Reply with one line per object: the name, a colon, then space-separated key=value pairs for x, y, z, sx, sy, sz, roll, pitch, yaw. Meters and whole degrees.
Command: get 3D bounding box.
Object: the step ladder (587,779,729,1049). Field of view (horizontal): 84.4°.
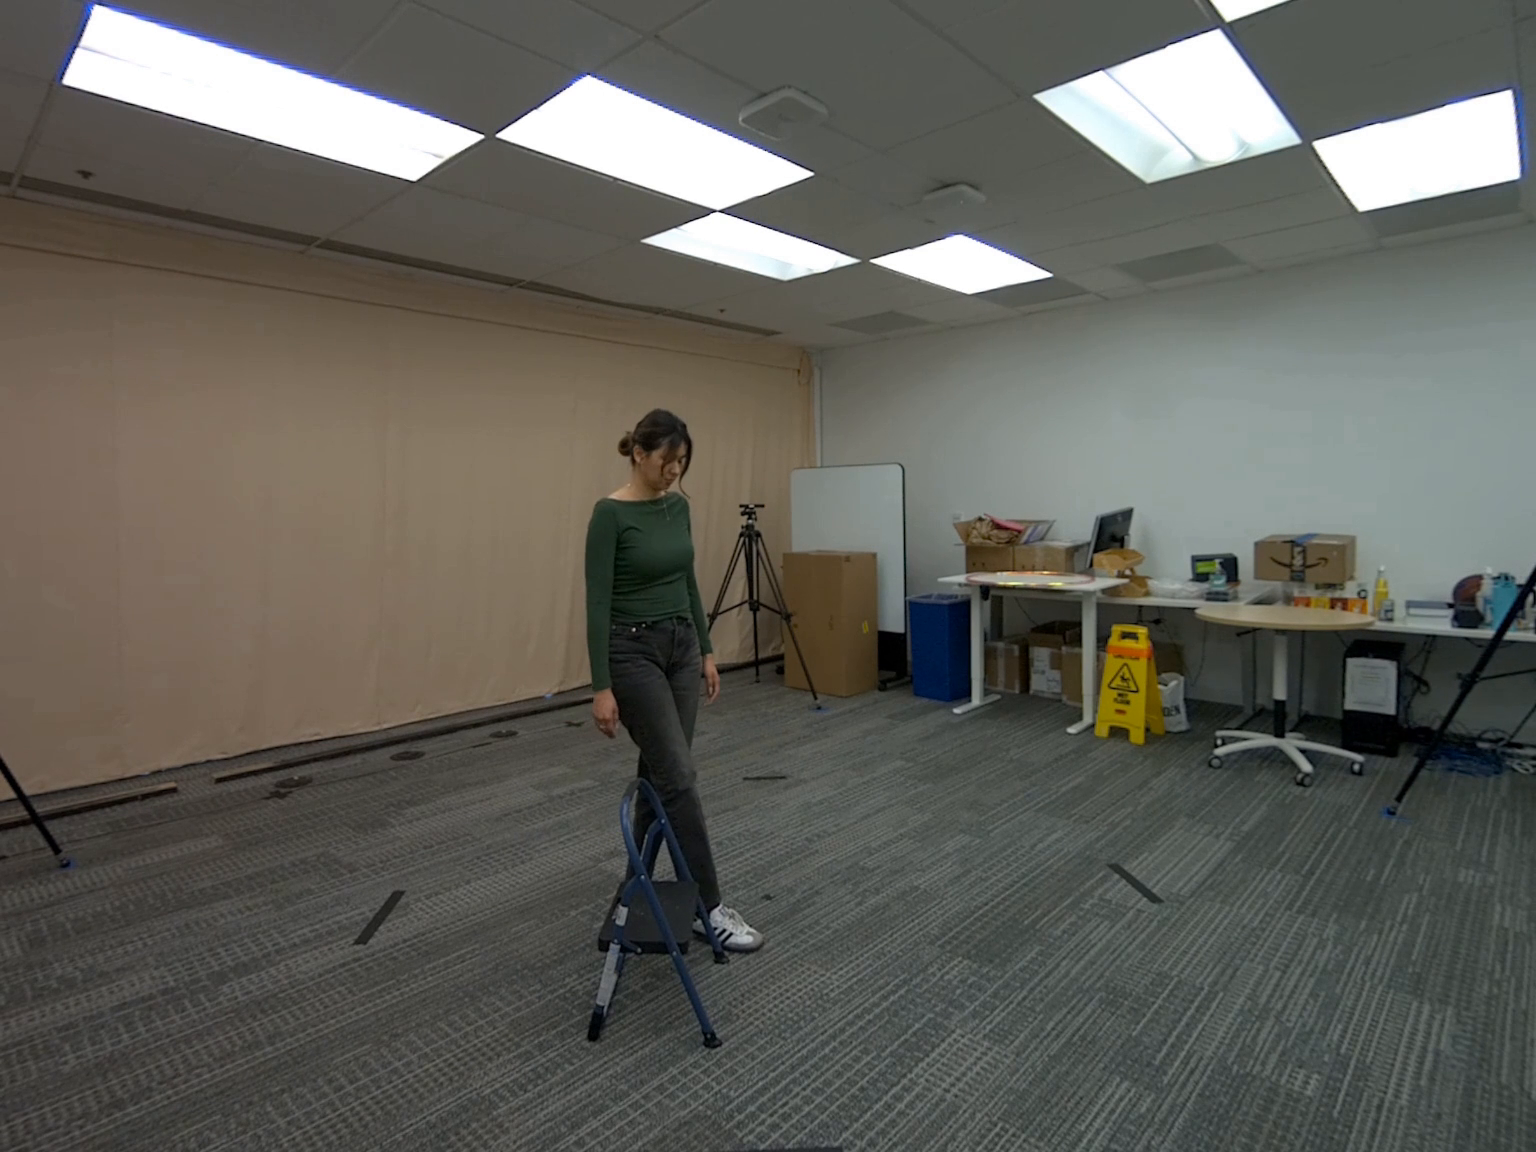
step ladder: x=-0.307 y=0.893 z=2.372 sx=0.350 sy=0.605 sz=0.430 roll=0 pitch=3 yaw=1
